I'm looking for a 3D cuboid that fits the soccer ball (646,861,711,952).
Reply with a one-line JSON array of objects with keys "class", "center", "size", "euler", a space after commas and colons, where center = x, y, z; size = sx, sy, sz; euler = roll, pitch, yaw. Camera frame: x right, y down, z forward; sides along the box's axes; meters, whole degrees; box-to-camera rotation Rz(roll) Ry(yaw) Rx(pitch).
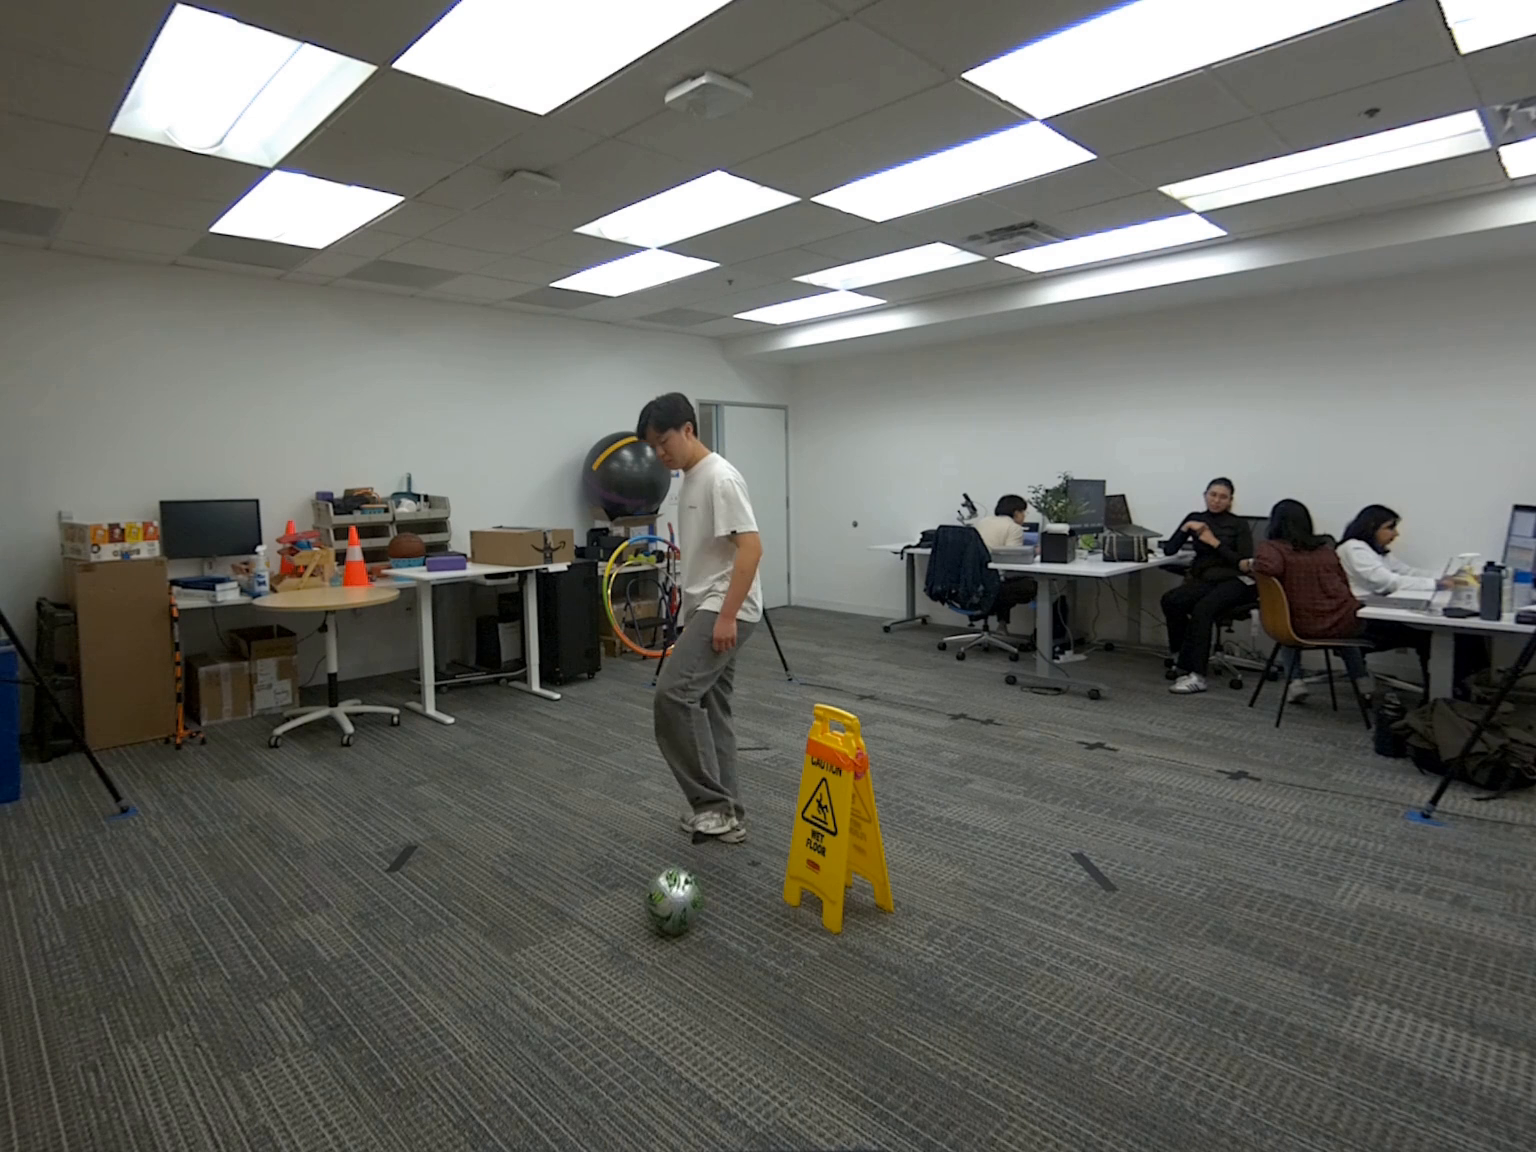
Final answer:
[{"class": "soccer ball", "center": [-0.277, 1.022, 2.665], "size": [0.187, 0.187, 0.188], "euler": [-1, 5, -2]}]
